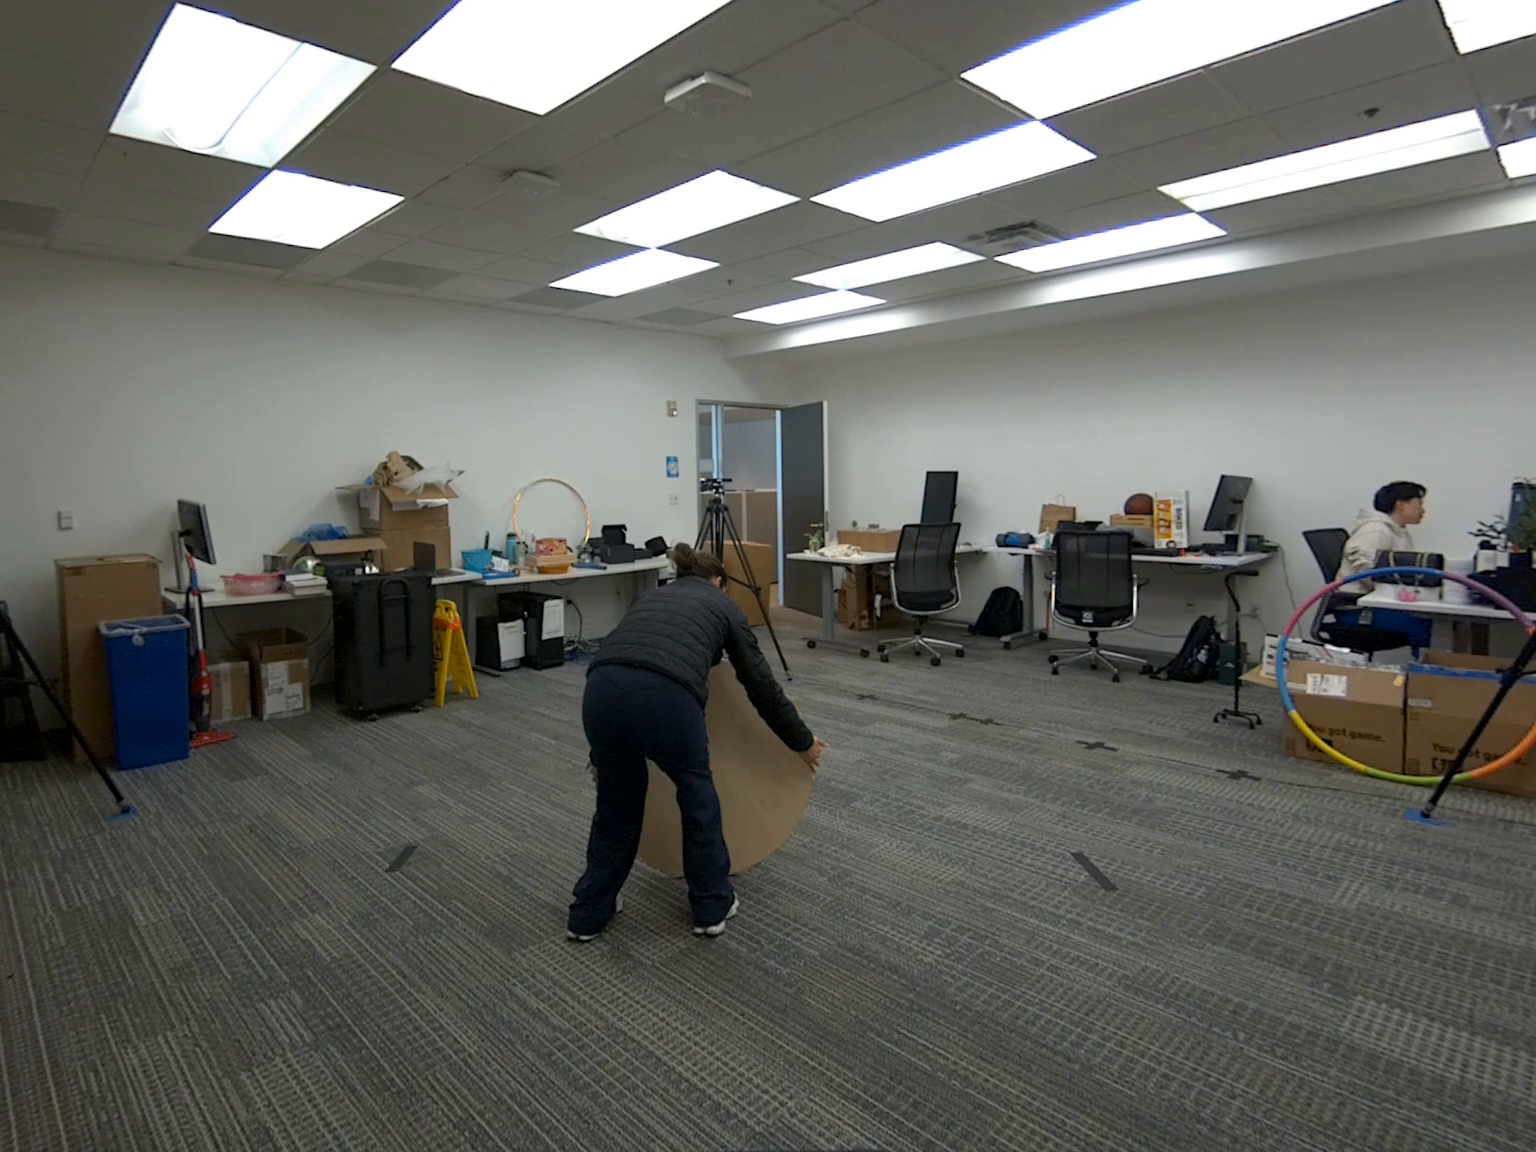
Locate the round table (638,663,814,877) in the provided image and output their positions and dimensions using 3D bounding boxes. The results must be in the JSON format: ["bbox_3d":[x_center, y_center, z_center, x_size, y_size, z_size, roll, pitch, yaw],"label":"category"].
[{"bbox_3d":[-0.256,0.674,3.419,0.783,0.786,0.788,-1,0,-3],"label":"round table"}]
